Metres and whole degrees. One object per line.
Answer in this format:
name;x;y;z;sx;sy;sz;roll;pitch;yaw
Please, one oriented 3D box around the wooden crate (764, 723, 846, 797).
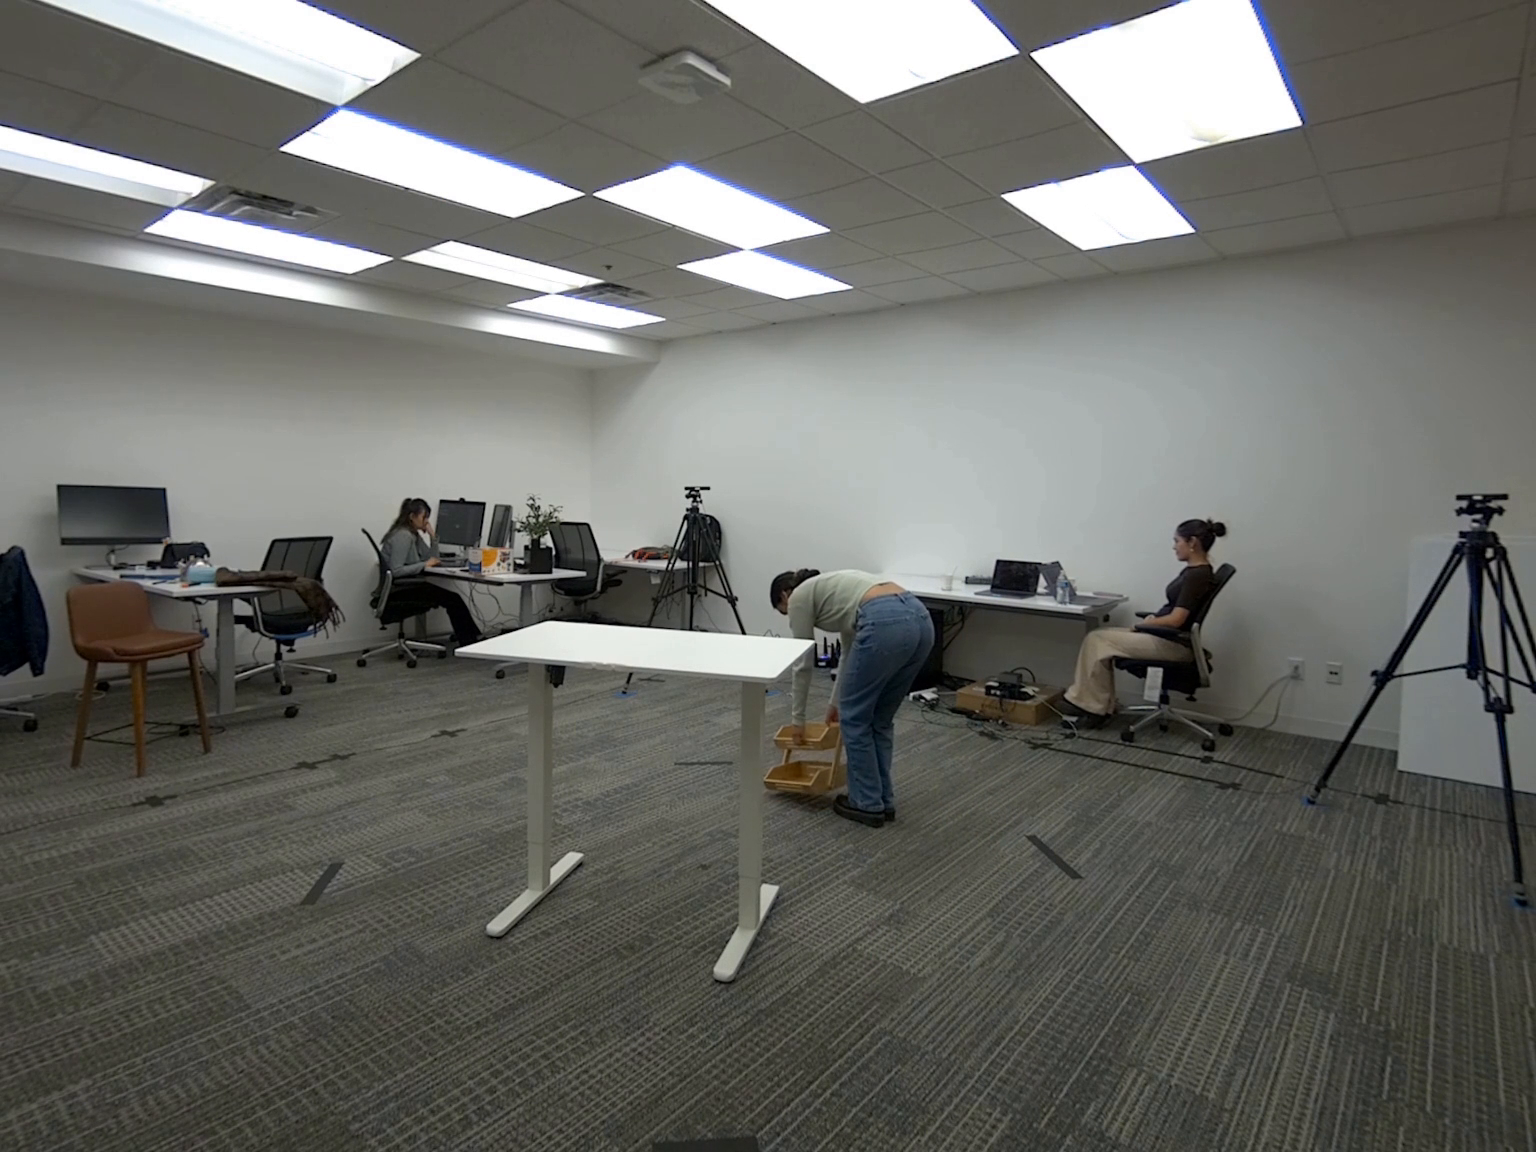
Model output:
wooden crate;0.164;0.808;3.852;0.293;0.275;0.333;-2;-5;-43
